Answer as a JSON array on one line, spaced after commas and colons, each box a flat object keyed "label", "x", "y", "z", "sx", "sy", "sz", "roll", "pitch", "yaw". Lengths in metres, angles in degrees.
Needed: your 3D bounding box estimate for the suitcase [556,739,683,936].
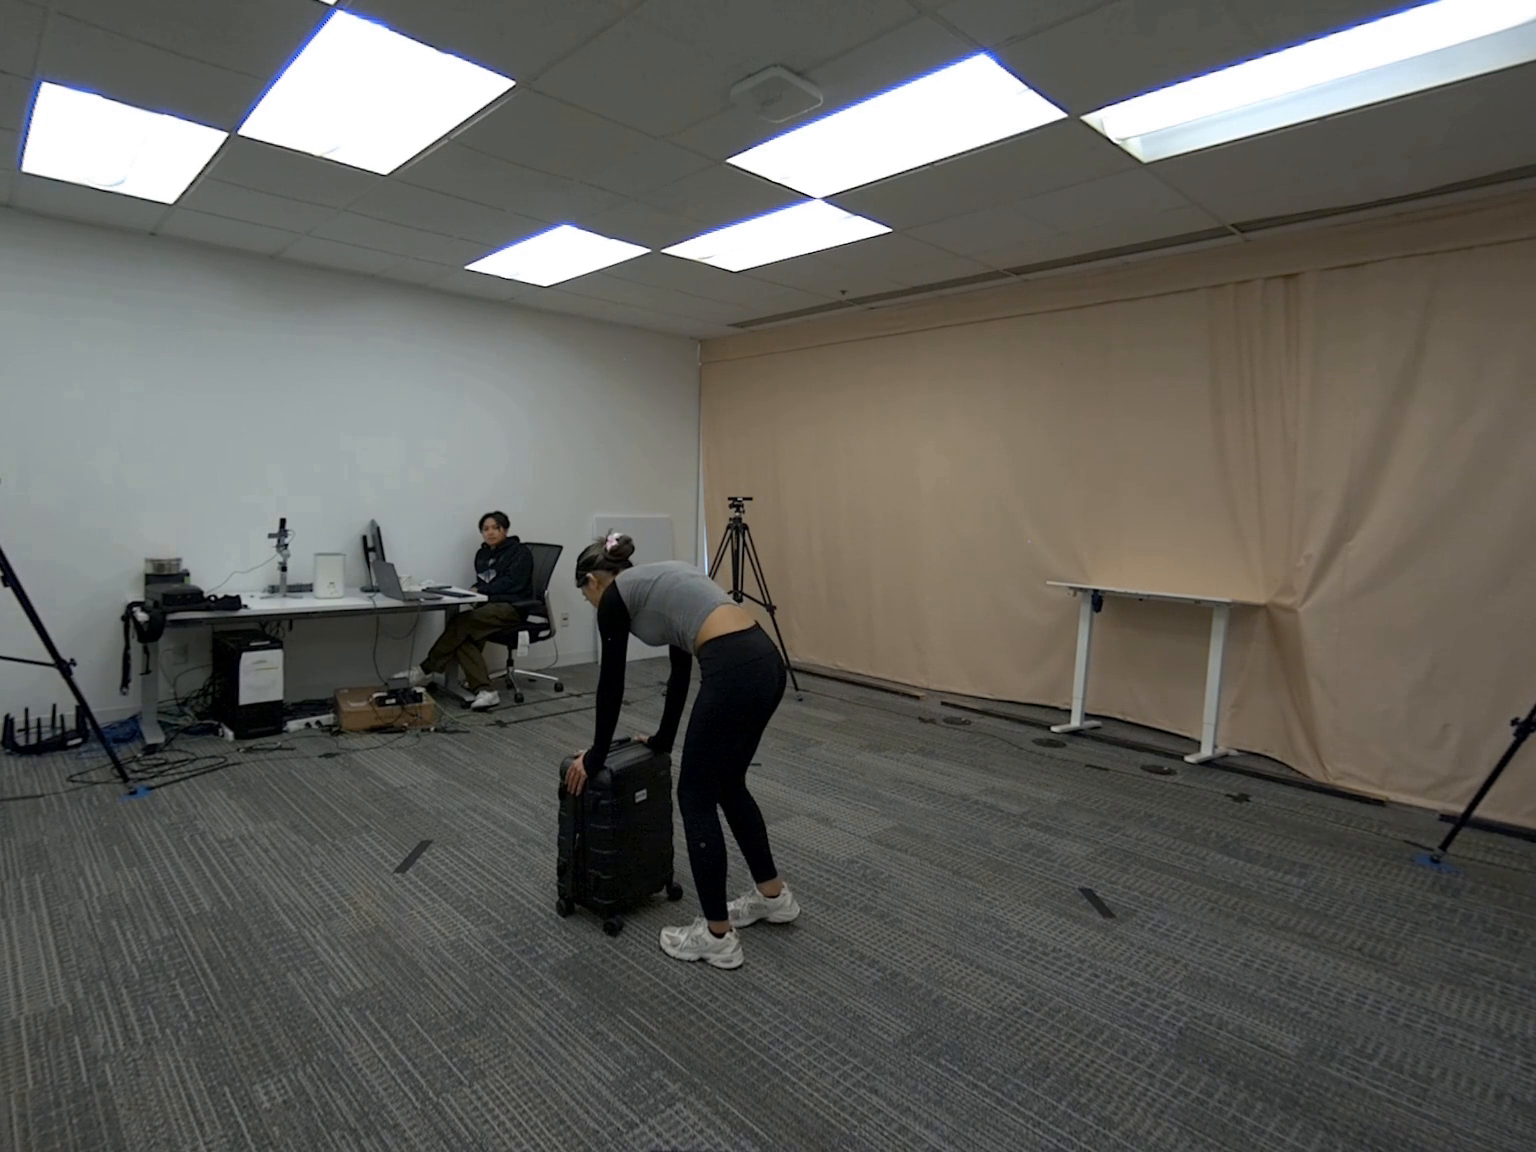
[{"label": "suitcase", "x": -0.516, "y": 0.850, "z": 2.854, "sx": 0.254, "sy": 0.548, "sz": 0.368, "roll": 2, "pitch": 3, "yaw": 33}]
